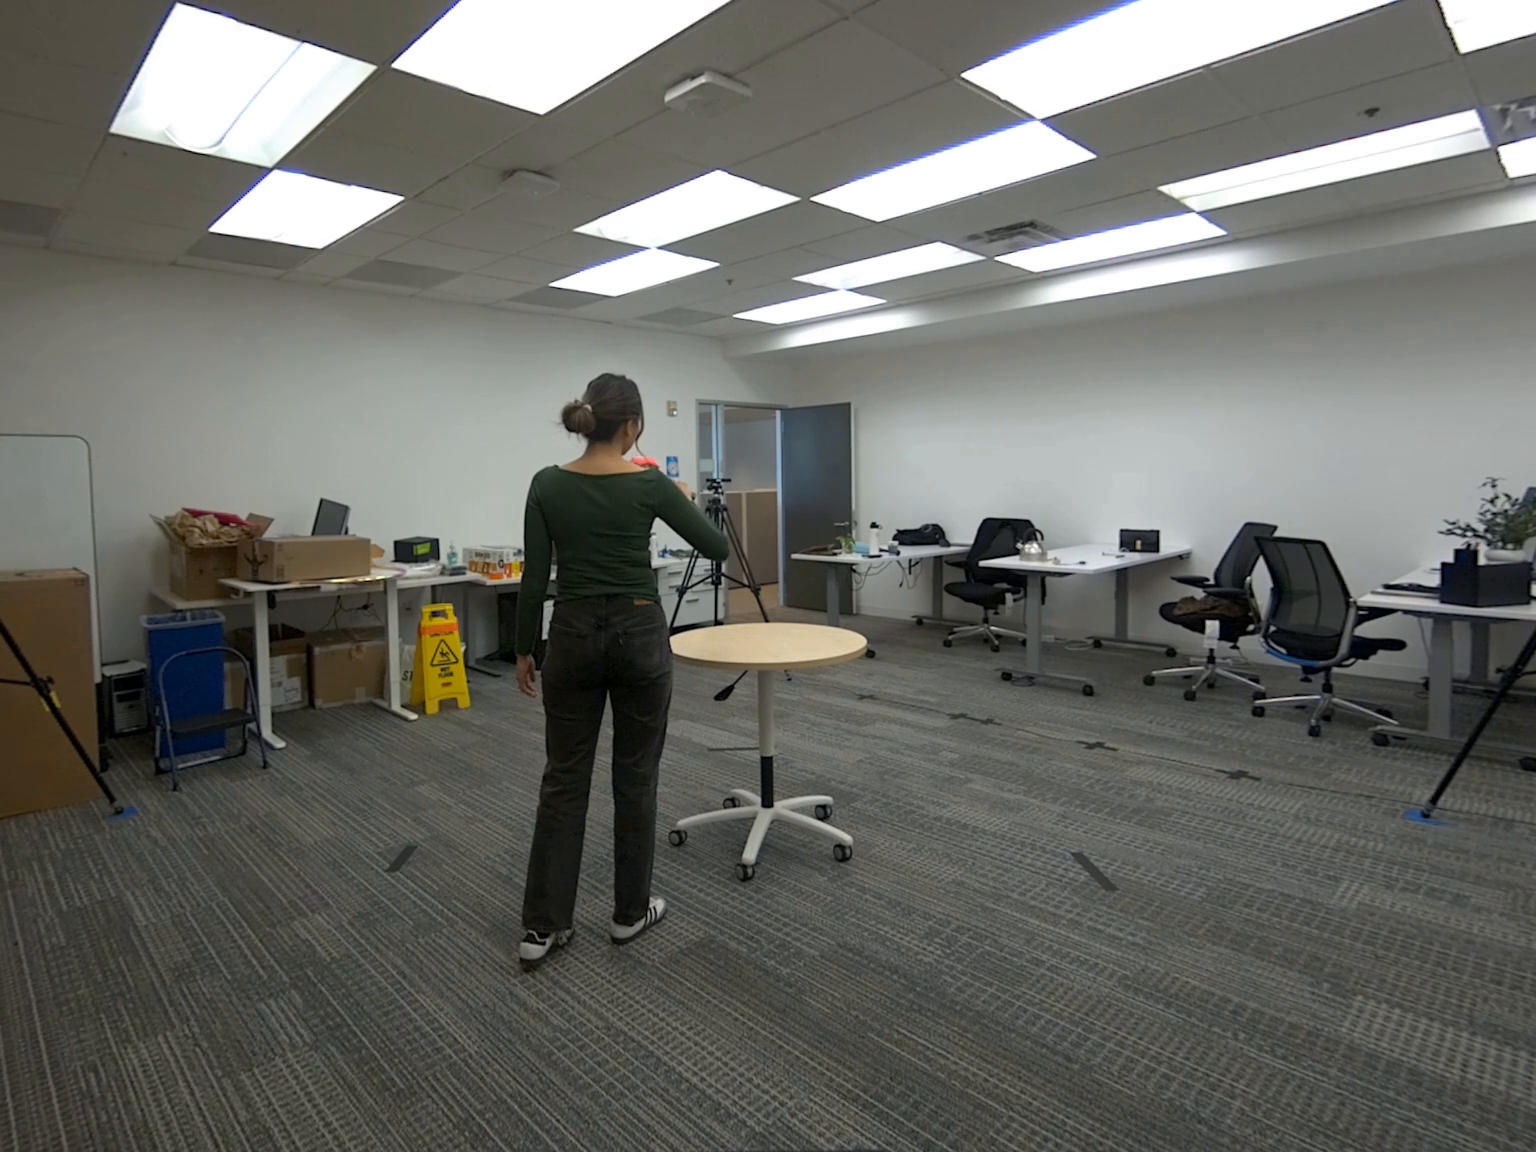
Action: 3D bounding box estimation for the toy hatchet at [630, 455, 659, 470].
[{"bbox_3d":[-0.336,-0.337,2.897,0.273,0.029,0.131,27,31,7],"label":"toy hatchet"}]
